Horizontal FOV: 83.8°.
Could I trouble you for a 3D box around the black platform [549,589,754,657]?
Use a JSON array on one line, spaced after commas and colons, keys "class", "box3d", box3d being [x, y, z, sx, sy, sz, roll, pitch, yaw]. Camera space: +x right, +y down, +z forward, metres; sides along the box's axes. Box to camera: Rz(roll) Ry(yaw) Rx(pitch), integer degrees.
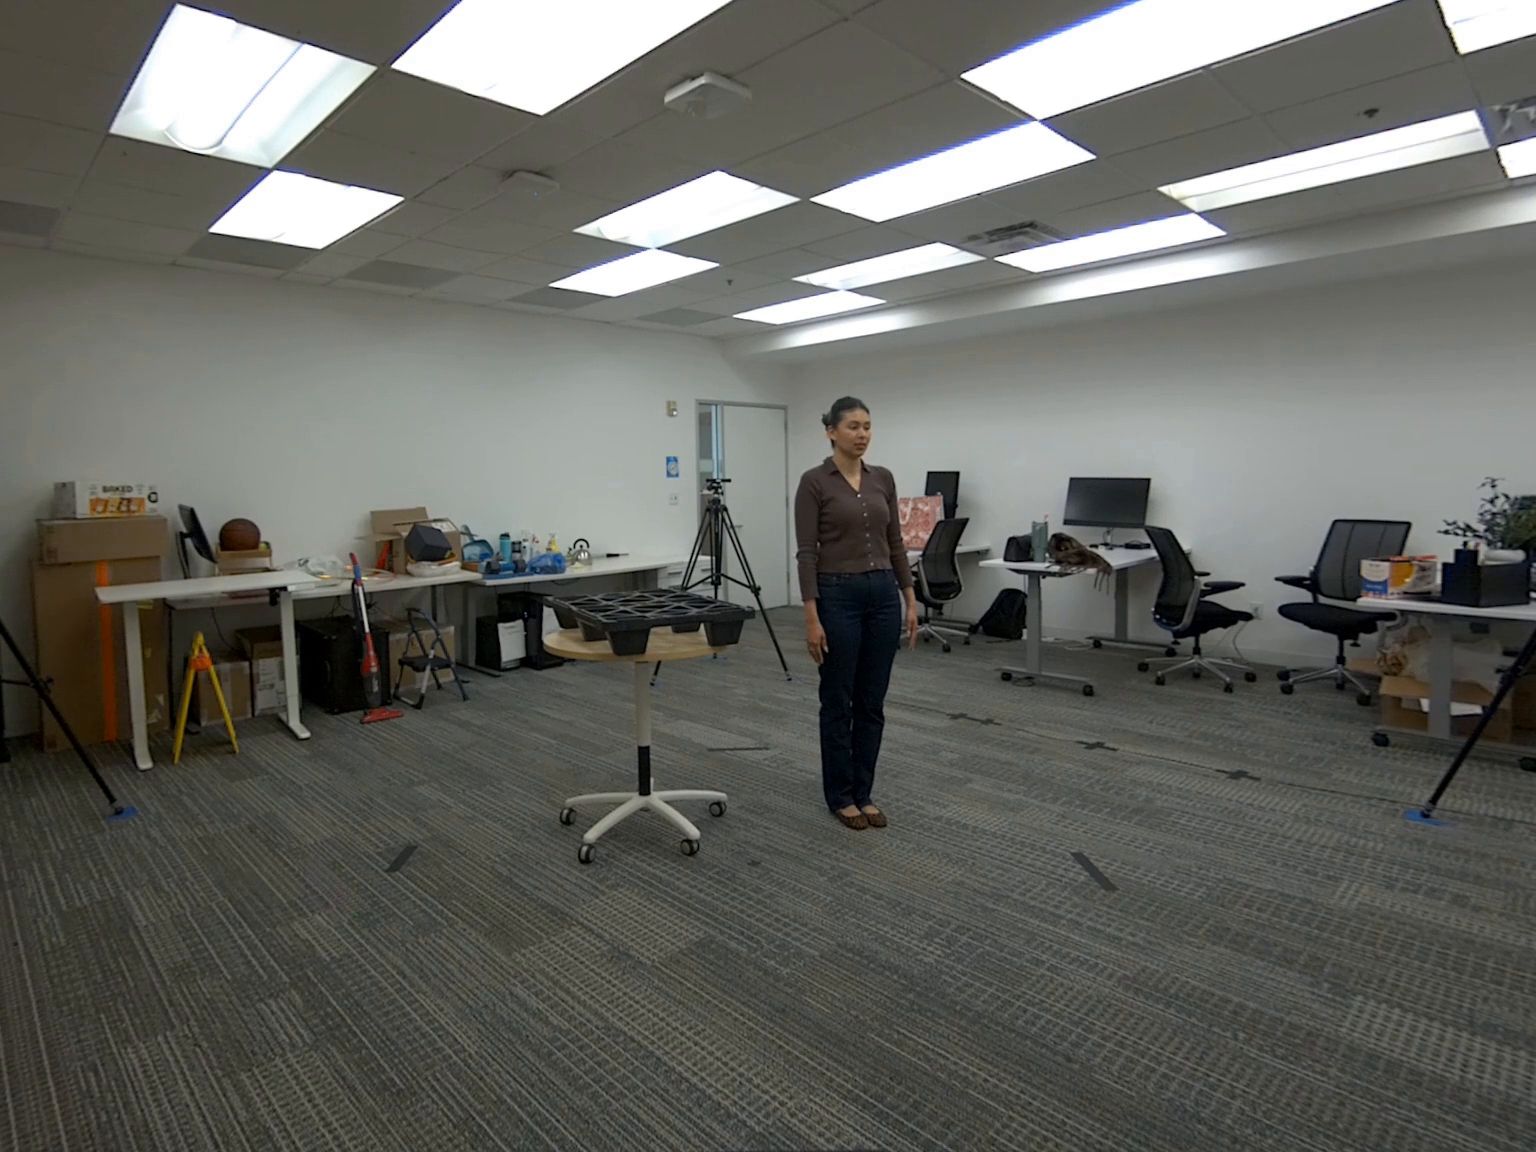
[{"class": "black platform", "box3d": [-0.502, 0.175, 3.392, 0.591, 0.143, 0.827, -3, 6, -29]}]
